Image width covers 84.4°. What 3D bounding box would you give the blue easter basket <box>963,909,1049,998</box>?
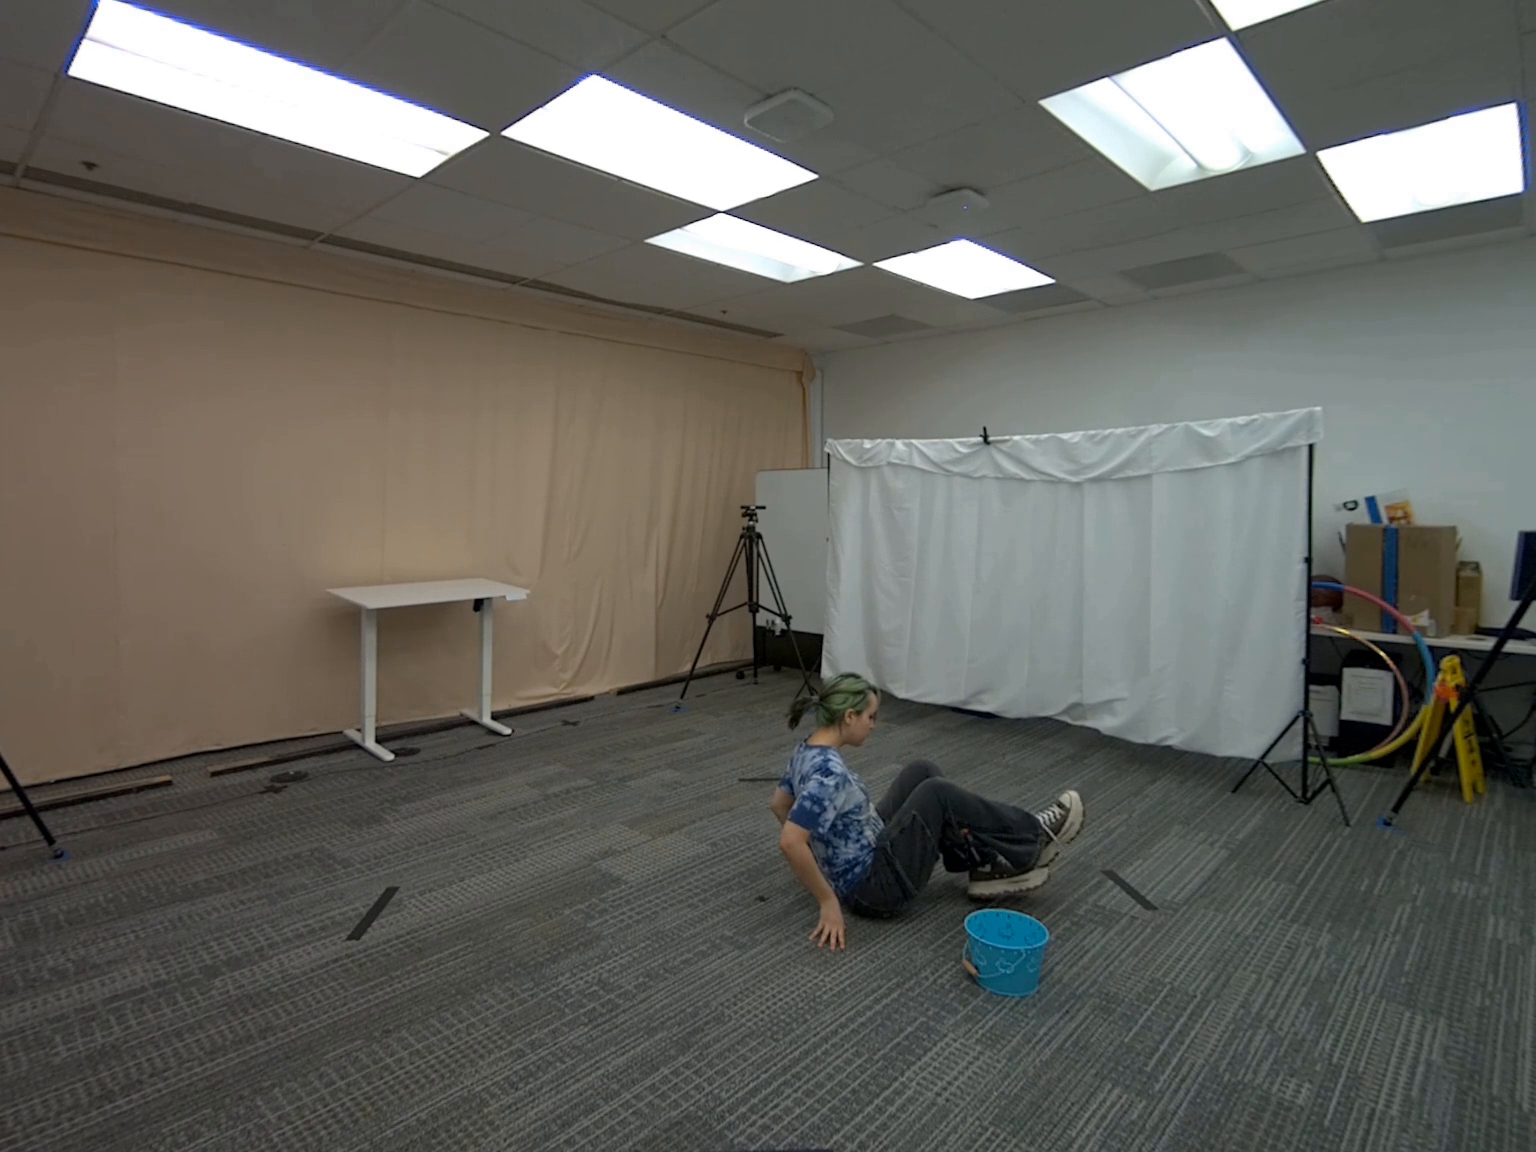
[{"bbox_3d":[0.692,1.100,2.479,0.243,0.155,0.244,0,4,-2],"label":"blue easter basket"}]
